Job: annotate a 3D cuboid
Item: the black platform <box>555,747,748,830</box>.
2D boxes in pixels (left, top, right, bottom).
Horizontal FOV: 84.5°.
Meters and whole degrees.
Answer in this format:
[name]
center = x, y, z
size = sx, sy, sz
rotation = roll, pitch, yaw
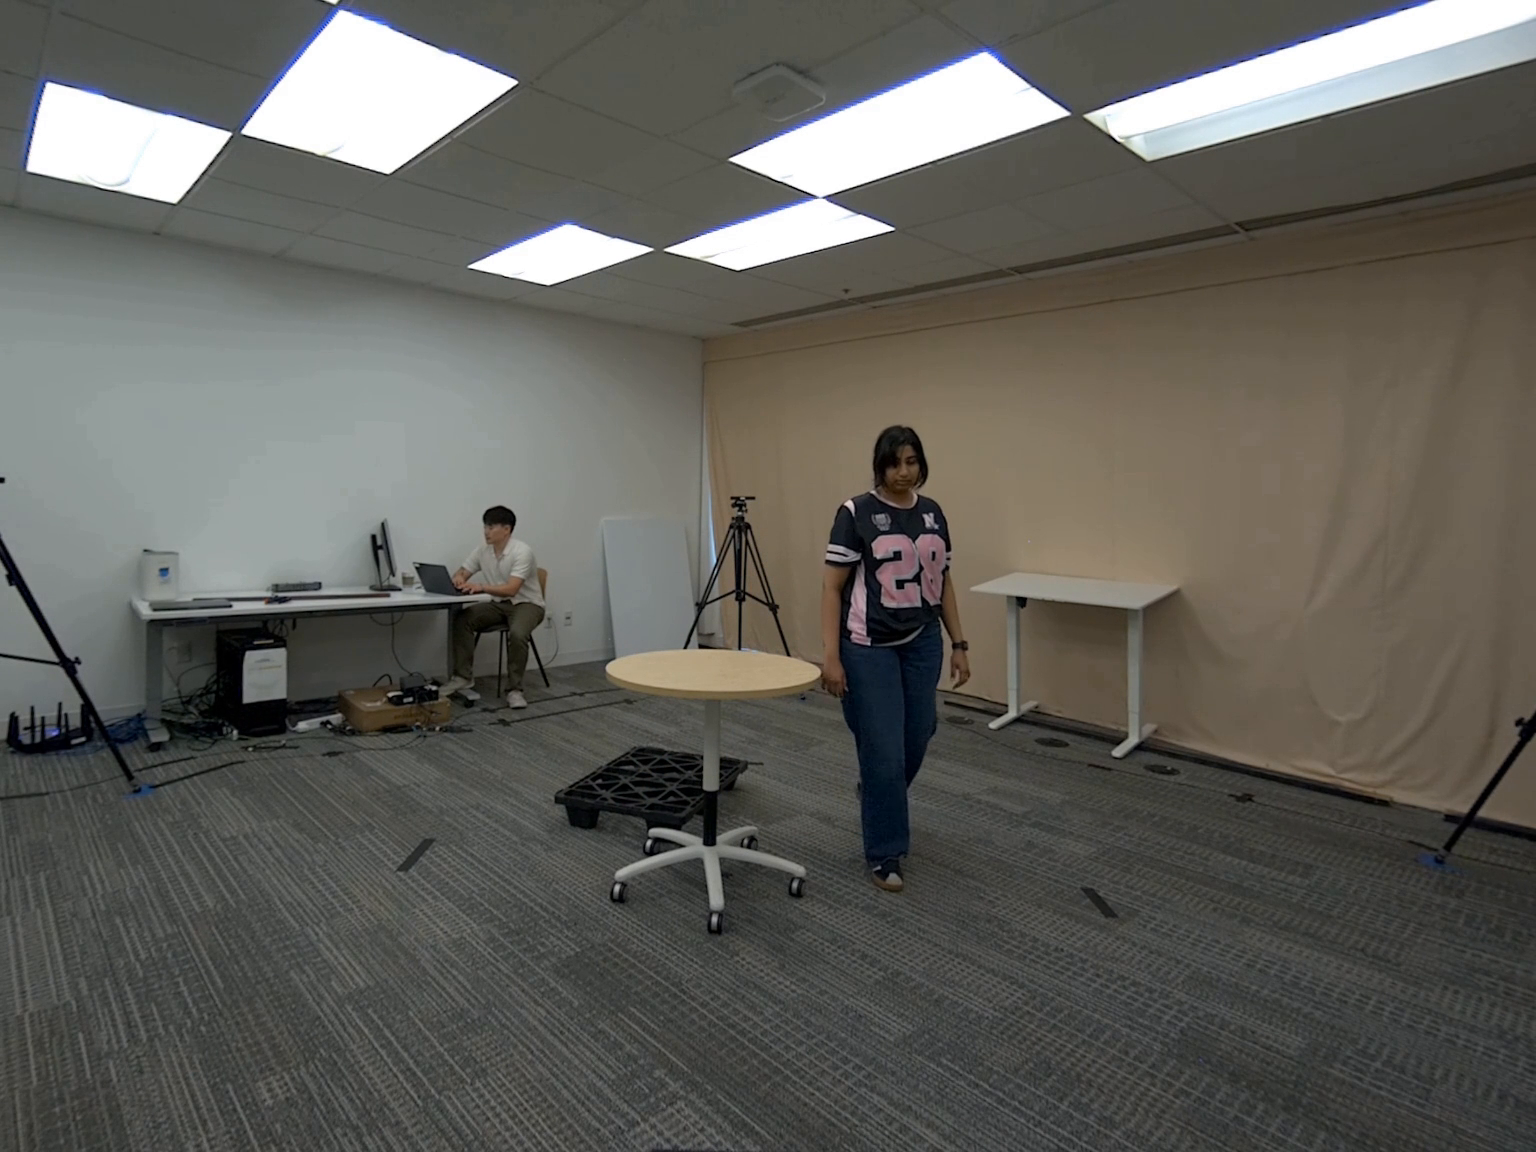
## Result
[black platform]
center = -0.498, 0.966, 3.795
size = 0.614, 0.143, 0.795
rotation = 4, 6, 18
